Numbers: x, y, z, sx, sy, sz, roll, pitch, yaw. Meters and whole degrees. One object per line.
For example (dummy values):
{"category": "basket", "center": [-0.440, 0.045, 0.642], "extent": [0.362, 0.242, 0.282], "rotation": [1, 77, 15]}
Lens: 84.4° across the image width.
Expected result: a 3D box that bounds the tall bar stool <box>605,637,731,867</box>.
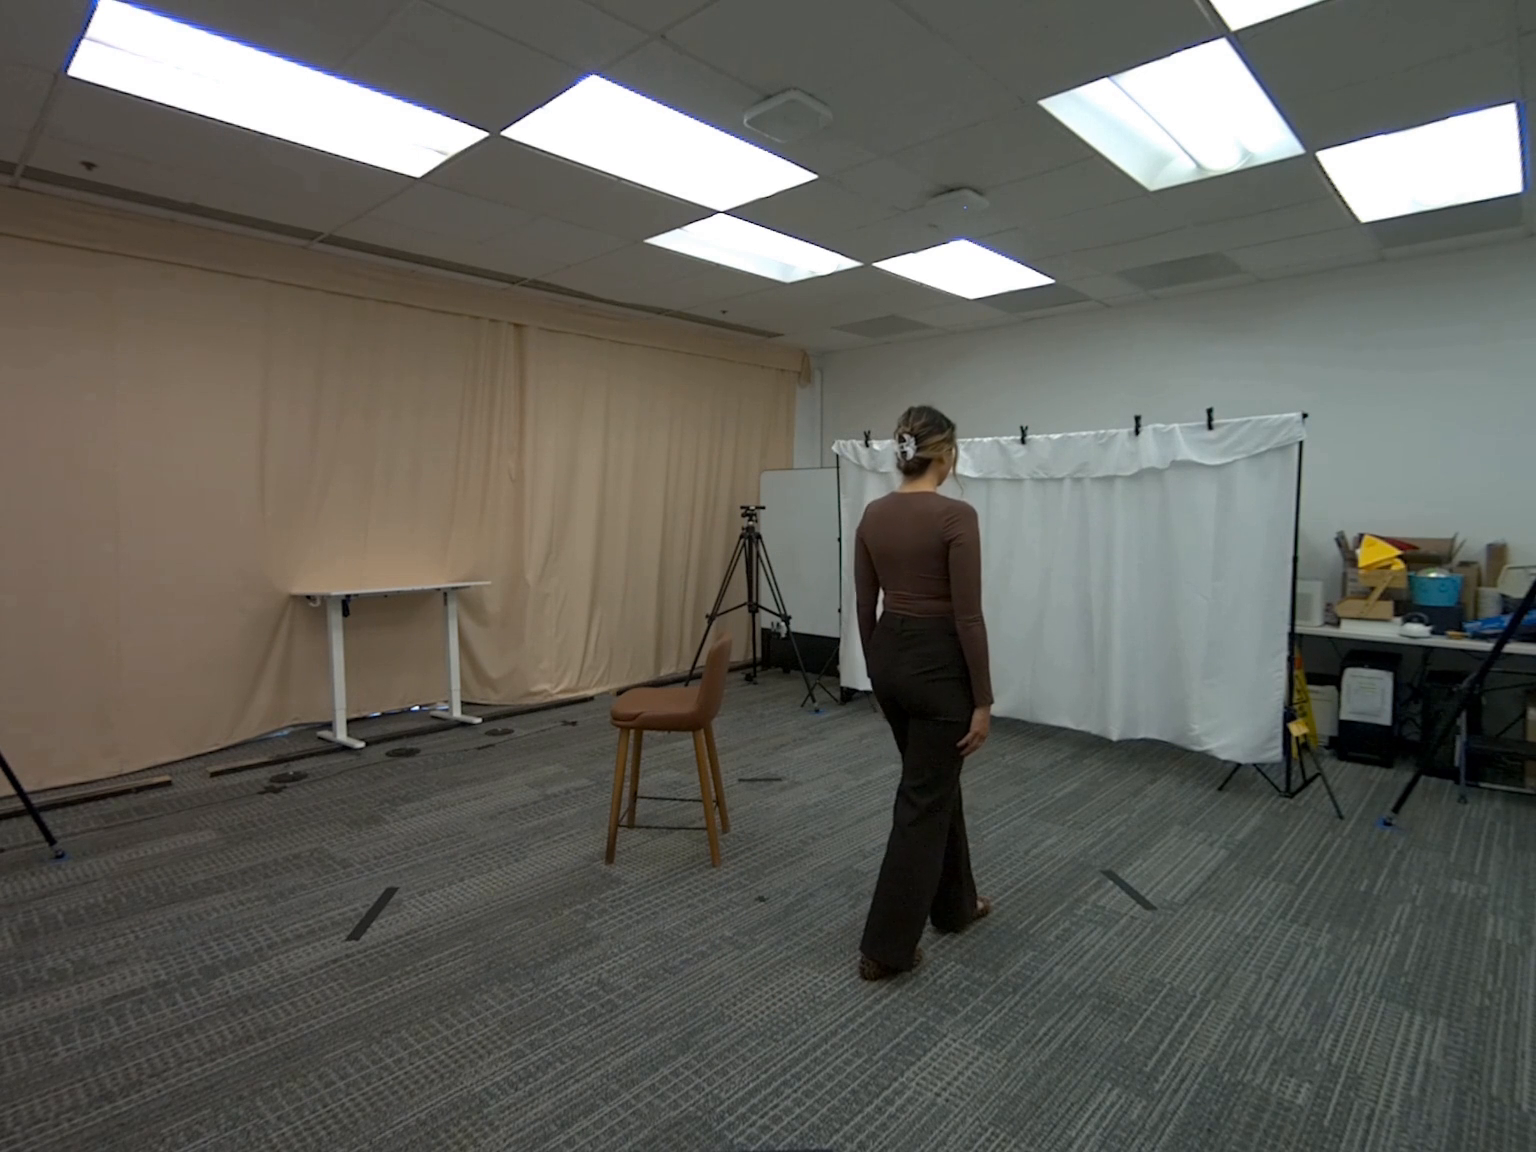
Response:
{"category": "tall bar stool", "center": [-0.399, 0.674, 3.435], "extent": [0.471, 0.888, 0.454], "rotation": [1, 3, 5]}
